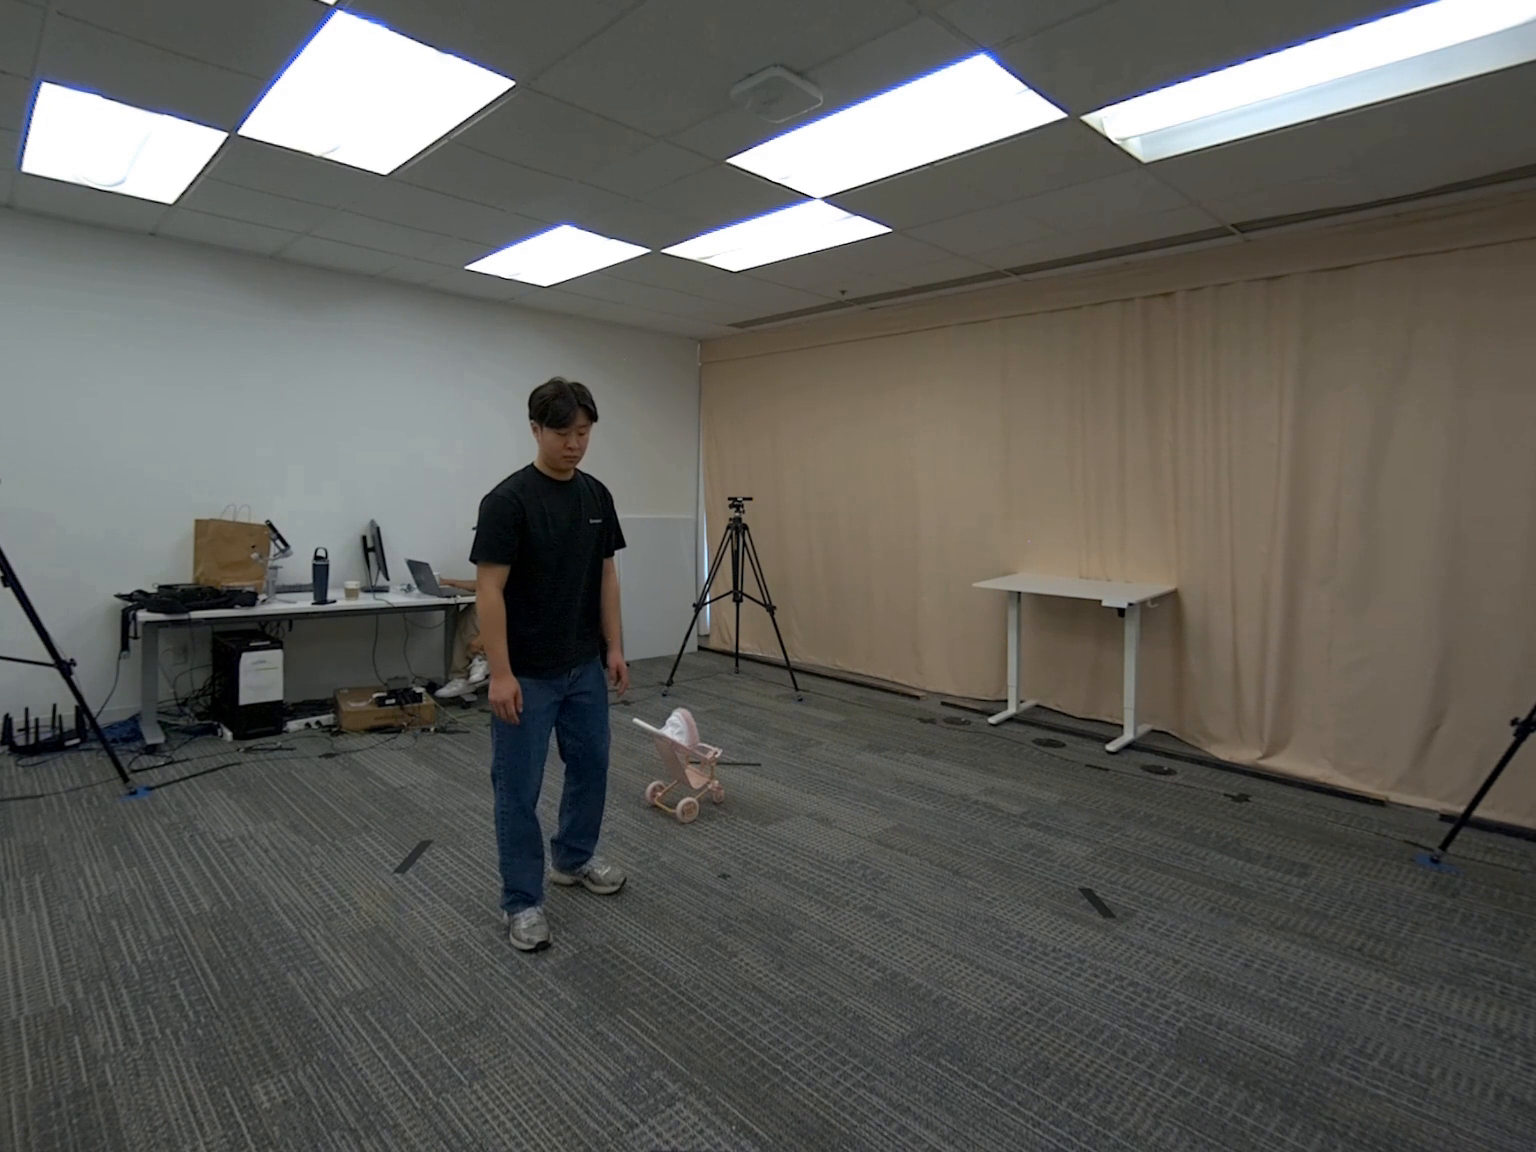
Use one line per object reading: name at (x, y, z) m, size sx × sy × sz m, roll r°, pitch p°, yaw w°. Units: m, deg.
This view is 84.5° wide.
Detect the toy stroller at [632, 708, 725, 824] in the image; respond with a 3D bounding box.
toy stroller at (-0.378, 0.823, 3.736) m, size 0.337 × 0.529 × 0.288 m, roll -19°, pitch 15°, yaw -32°
